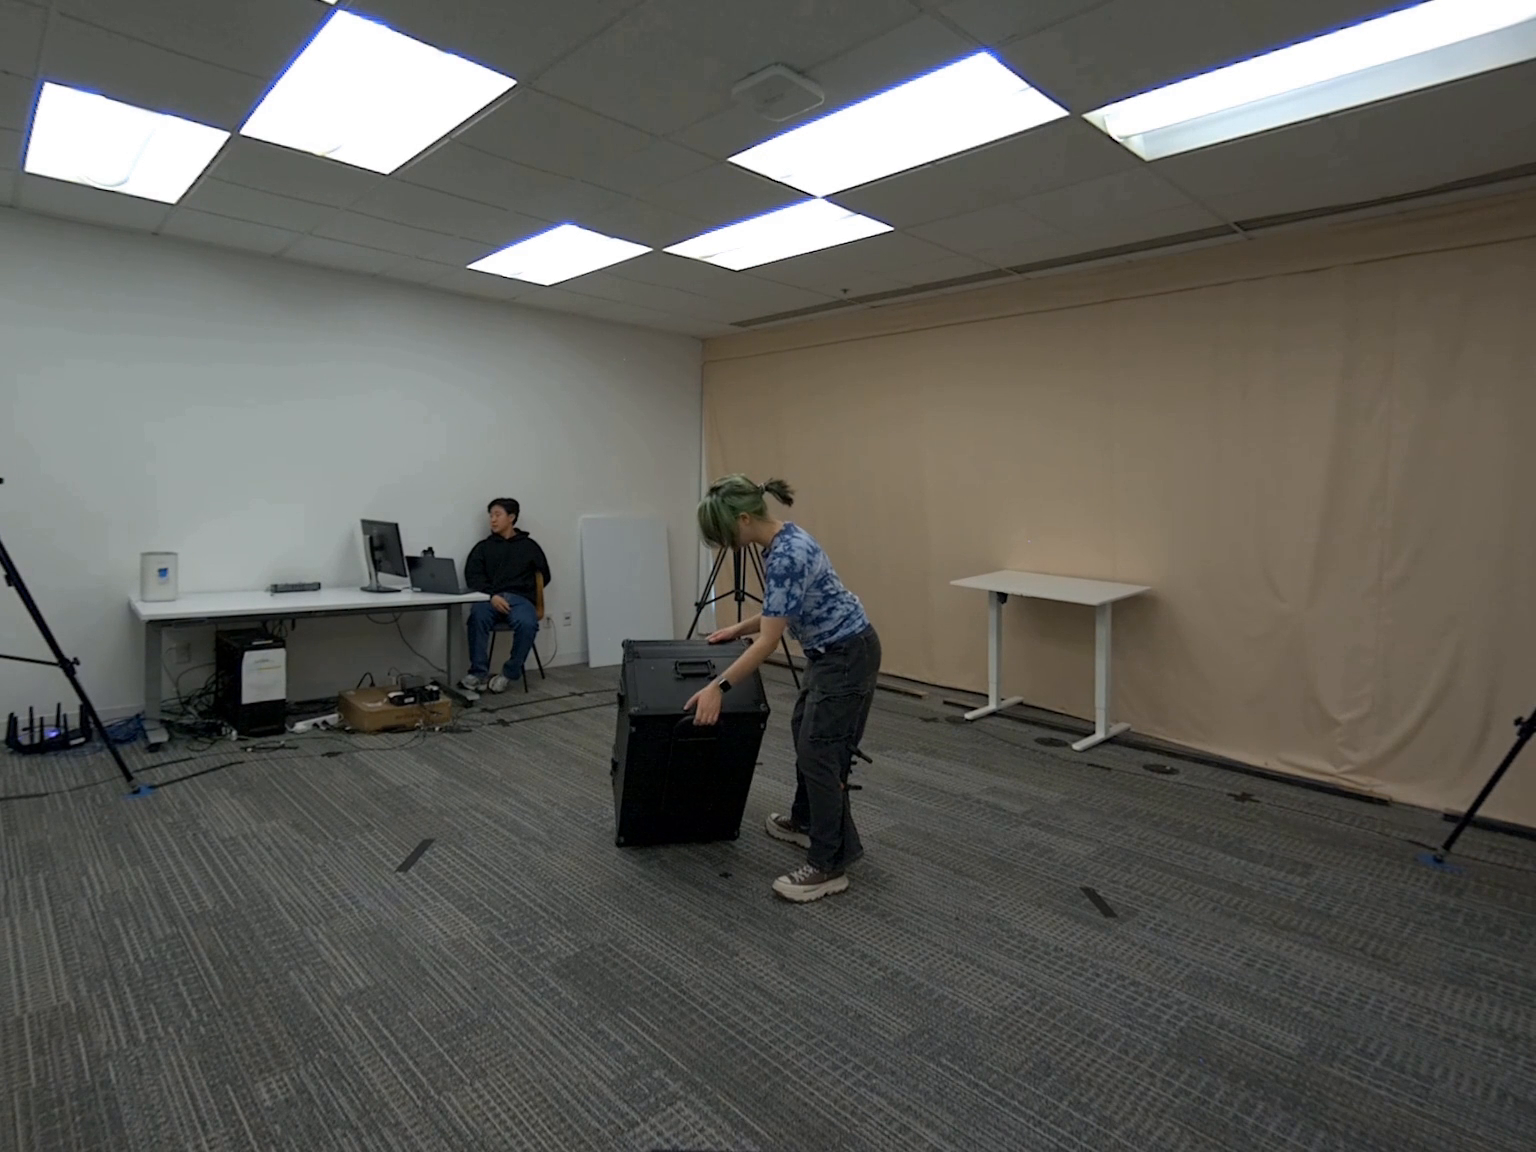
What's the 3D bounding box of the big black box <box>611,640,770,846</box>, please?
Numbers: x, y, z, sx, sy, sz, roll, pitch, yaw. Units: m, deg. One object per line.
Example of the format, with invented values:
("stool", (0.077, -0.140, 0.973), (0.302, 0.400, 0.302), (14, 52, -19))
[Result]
("big black box", (-0.329, 0.678, 3.226), (0.516, 0.847, 0.407), (2, 40, -13))
